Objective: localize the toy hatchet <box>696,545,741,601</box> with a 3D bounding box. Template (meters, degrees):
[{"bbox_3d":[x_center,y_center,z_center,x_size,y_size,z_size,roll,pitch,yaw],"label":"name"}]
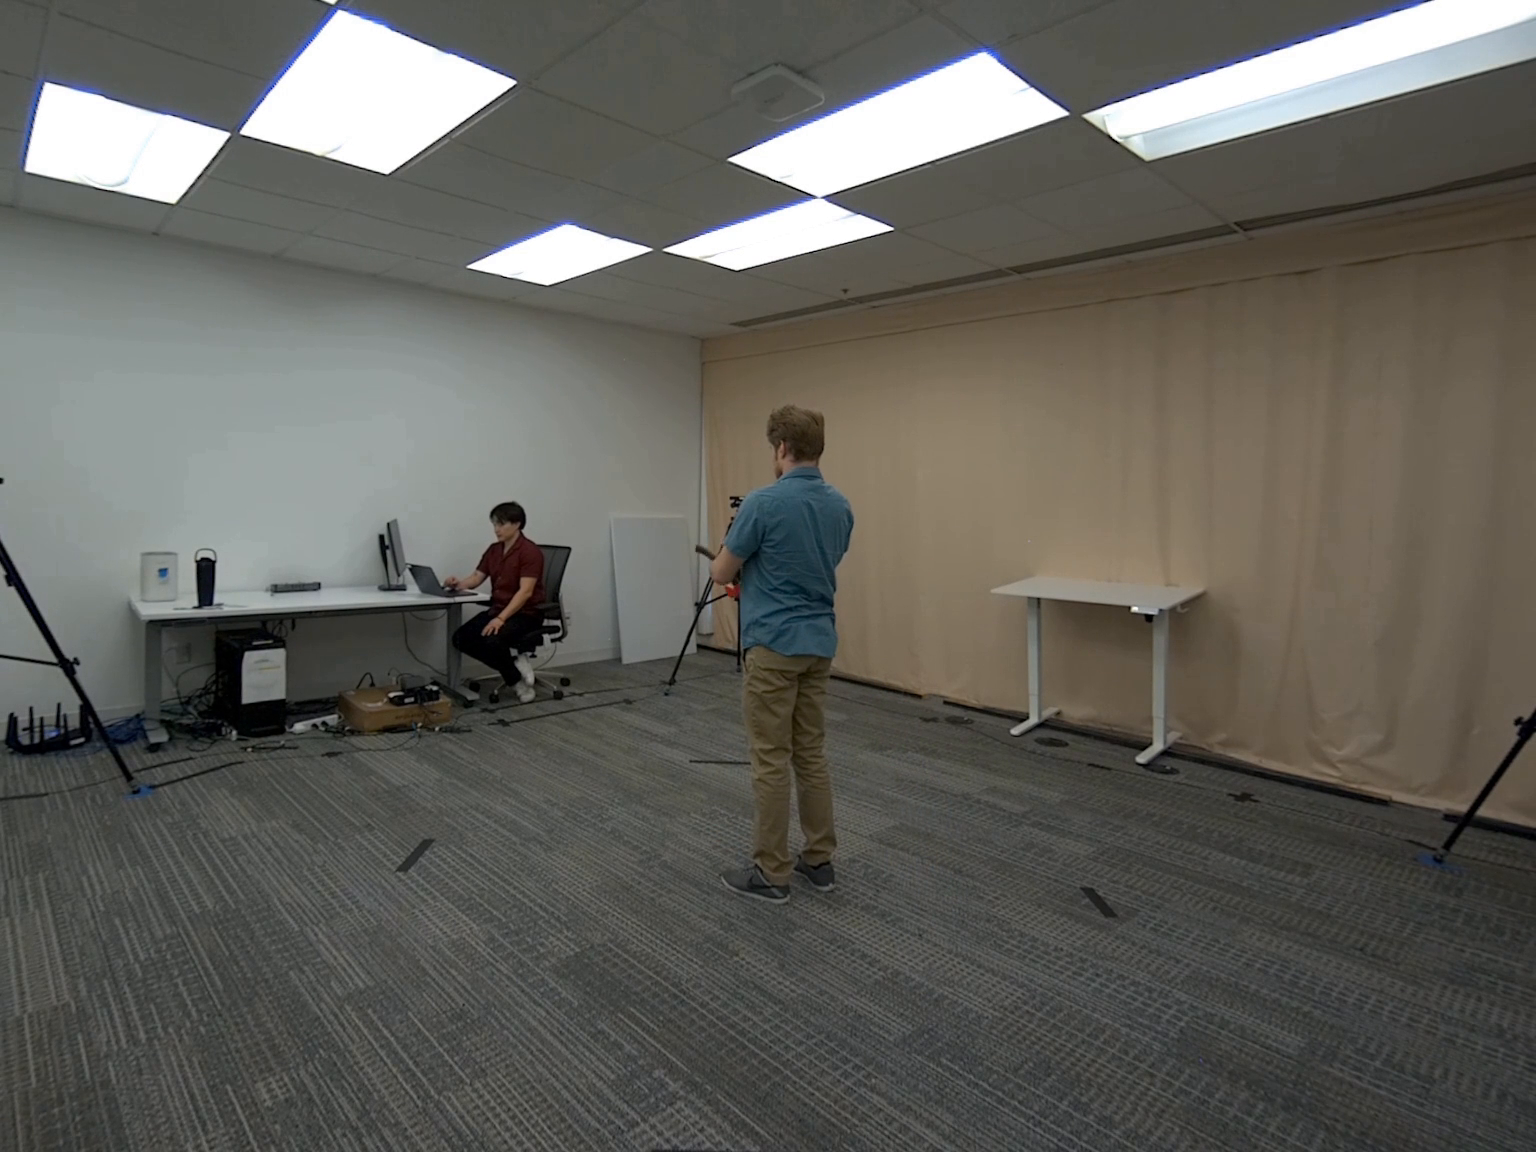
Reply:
[{"bbox_3d":[-0.194,-0.009,3.341,0.274,0.130,0.029,38,36,14],"label":"toy hatchet"}]
